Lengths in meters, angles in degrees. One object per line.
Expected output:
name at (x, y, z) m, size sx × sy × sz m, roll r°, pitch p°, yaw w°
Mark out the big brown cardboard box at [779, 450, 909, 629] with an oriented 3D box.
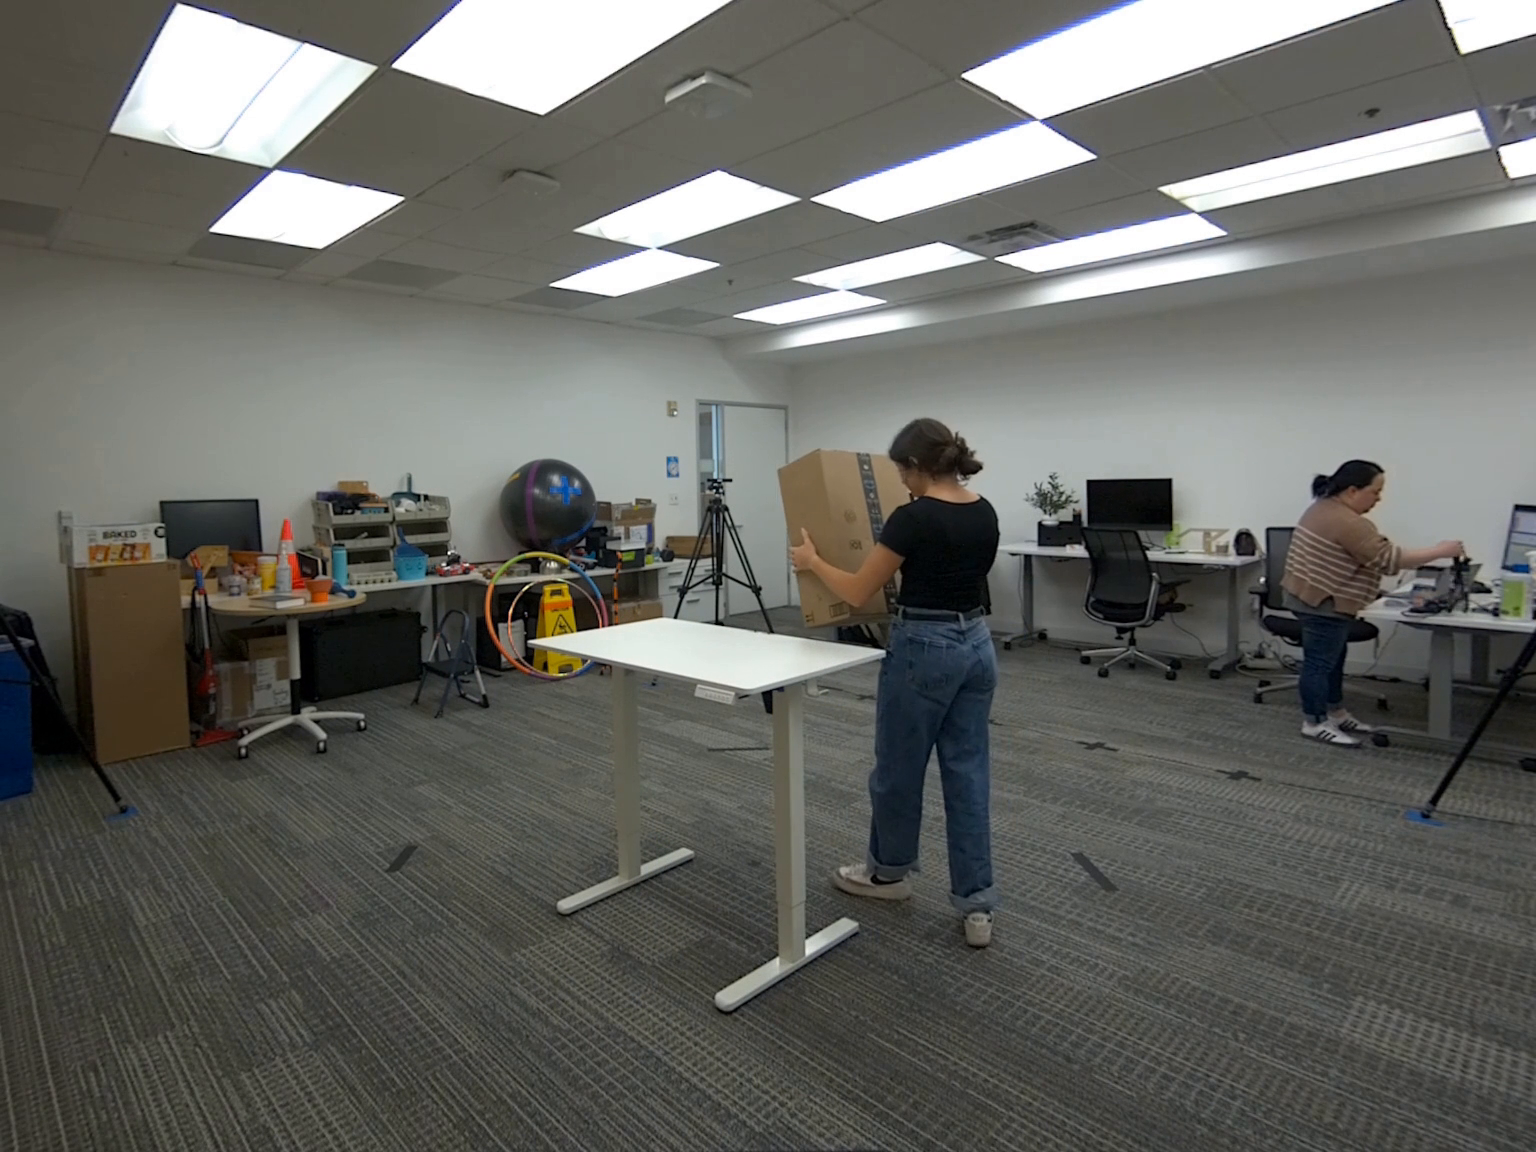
big brown cardboard box at (0.298, -0.132, 2.953) m, size 0.405 × 0.597 × 0.236 m, roll 1°, pitch -17°, yaw -39°
